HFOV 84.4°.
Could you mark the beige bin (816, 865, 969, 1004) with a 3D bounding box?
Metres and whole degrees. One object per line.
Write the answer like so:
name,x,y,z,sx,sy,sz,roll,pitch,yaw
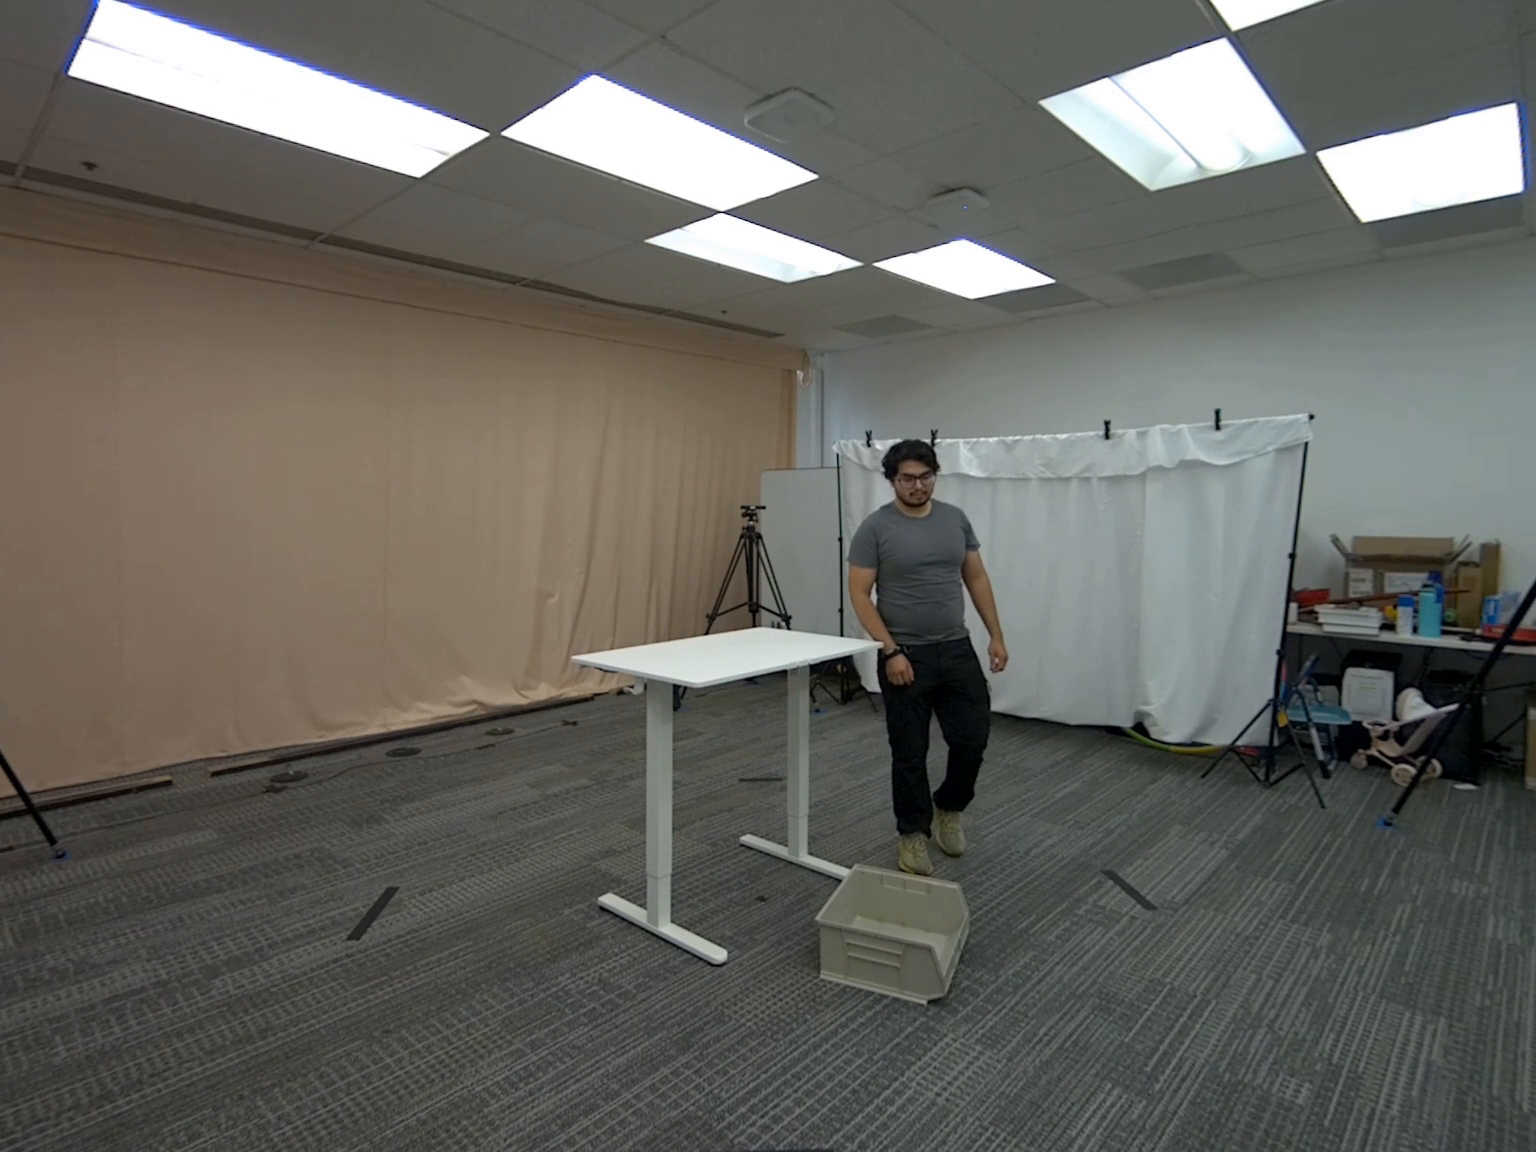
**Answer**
beige bin,0.399,1.089,2.586,0.387,0.188,0.413,1,5,23
